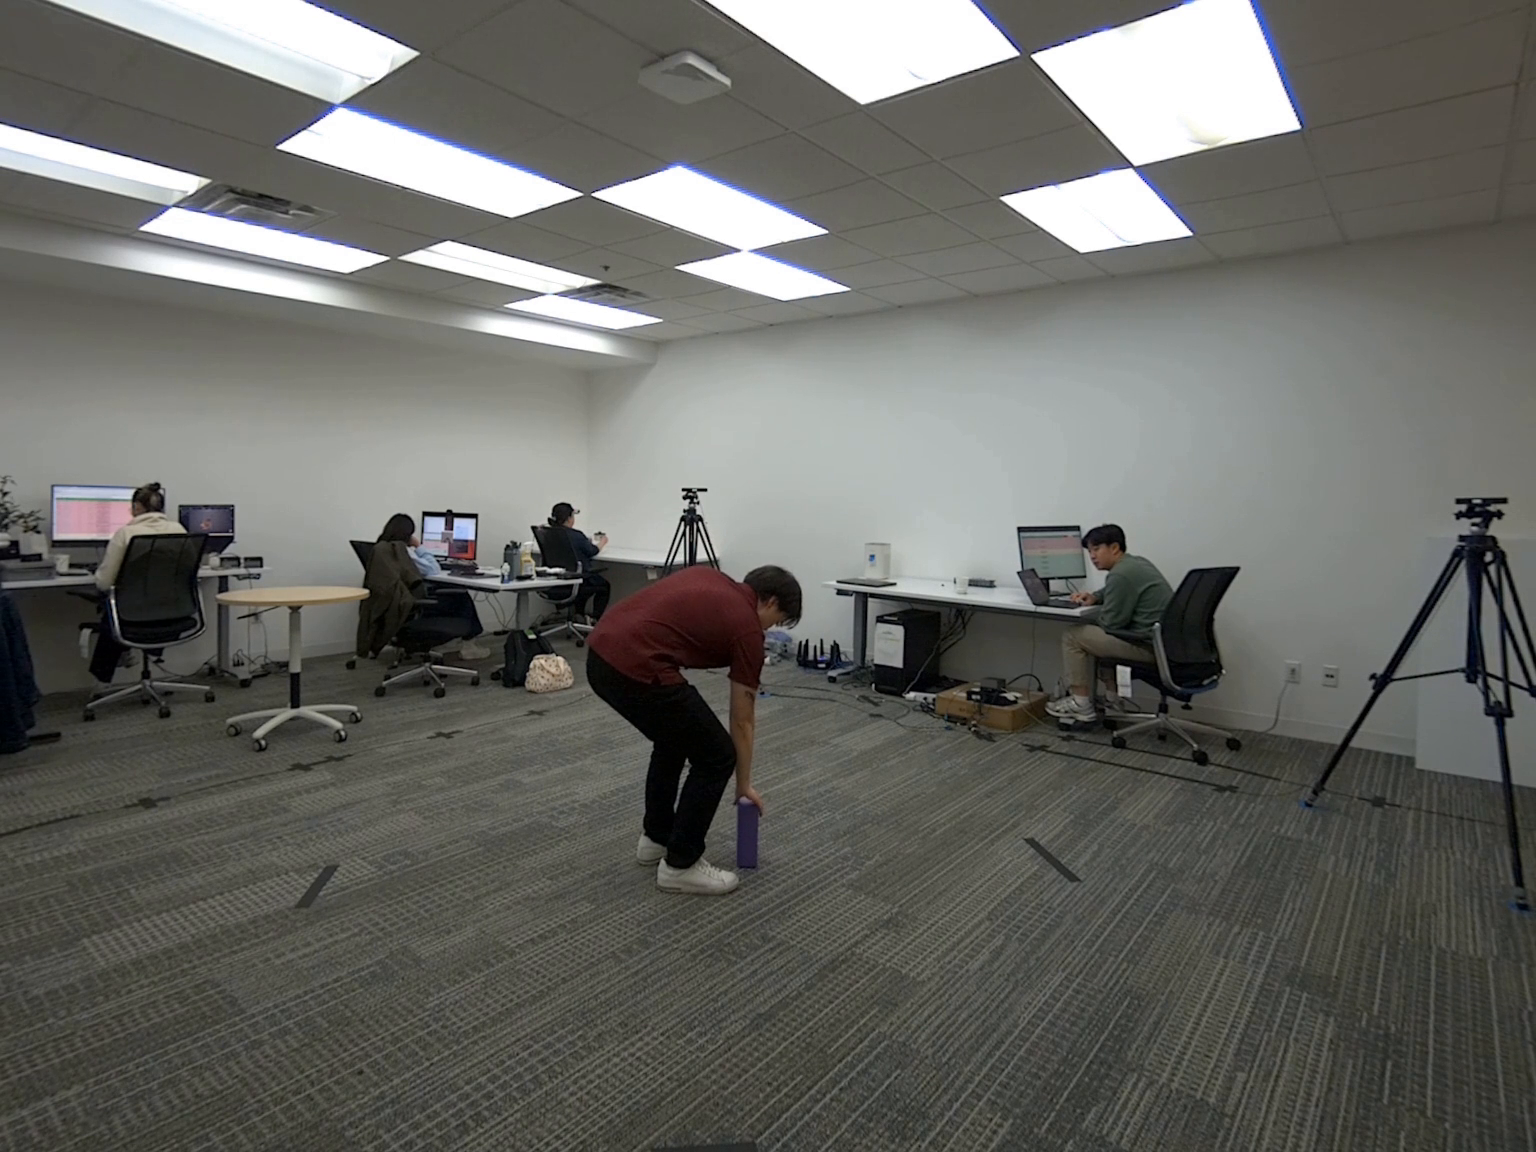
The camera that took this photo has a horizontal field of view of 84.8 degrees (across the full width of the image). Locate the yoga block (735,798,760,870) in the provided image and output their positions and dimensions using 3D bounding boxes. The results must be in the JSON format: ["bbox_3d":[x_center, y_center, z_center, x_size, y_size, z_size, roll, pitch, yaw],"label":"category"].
[{"bbox_3d":[-0.084,0.954,3.186,0.076,0.228,0.150,1,5,-4],"label":"yoga block"}]
